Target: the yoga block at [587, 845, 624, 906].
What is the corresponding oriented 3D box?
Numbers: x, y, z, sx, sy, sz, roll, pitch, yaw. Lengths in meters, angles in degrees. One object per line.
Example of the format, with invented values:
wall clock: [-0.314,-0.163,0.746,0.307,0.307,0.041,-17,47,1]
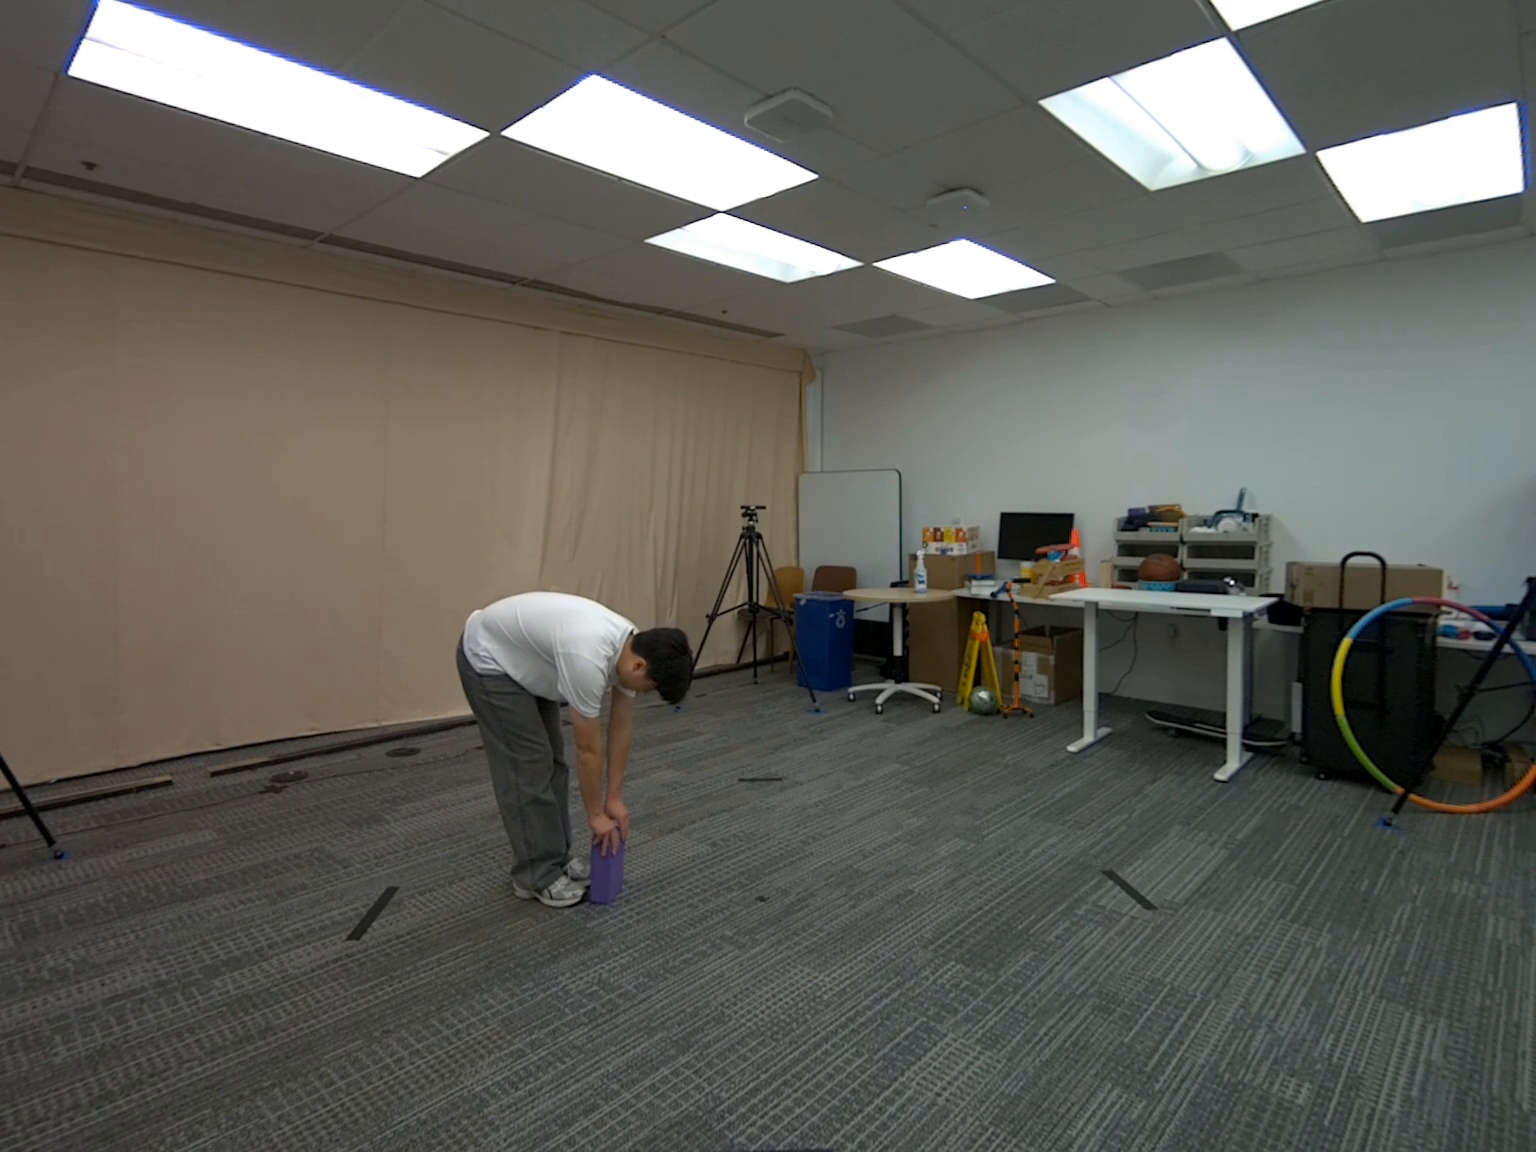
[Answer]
yoga block: [-0.567,1.040,3.001,0.077,0.229,0.148,3,4,8]
